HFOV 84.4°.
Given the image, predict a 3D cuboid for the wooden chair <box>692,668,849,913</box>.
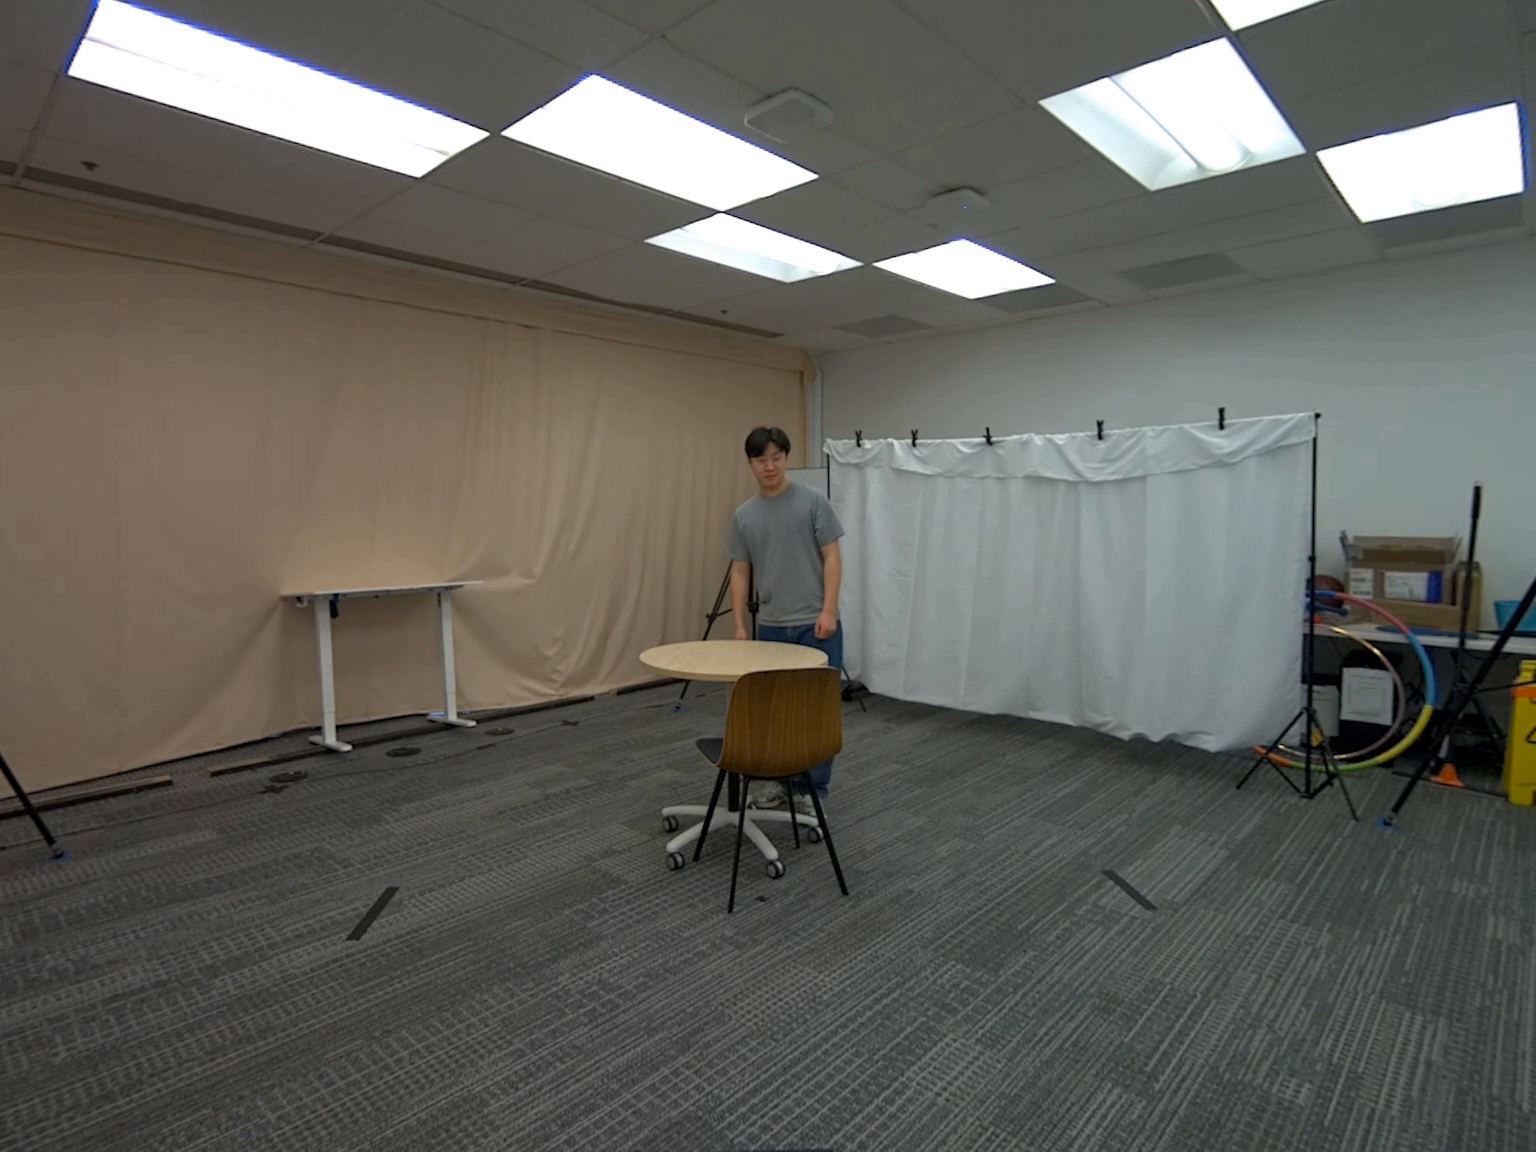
[{"bbox_3d":[-0.004,0.697,3.128,0.469,0.873,0.535,-1,8,-19],"label":"wooden chair"}]
